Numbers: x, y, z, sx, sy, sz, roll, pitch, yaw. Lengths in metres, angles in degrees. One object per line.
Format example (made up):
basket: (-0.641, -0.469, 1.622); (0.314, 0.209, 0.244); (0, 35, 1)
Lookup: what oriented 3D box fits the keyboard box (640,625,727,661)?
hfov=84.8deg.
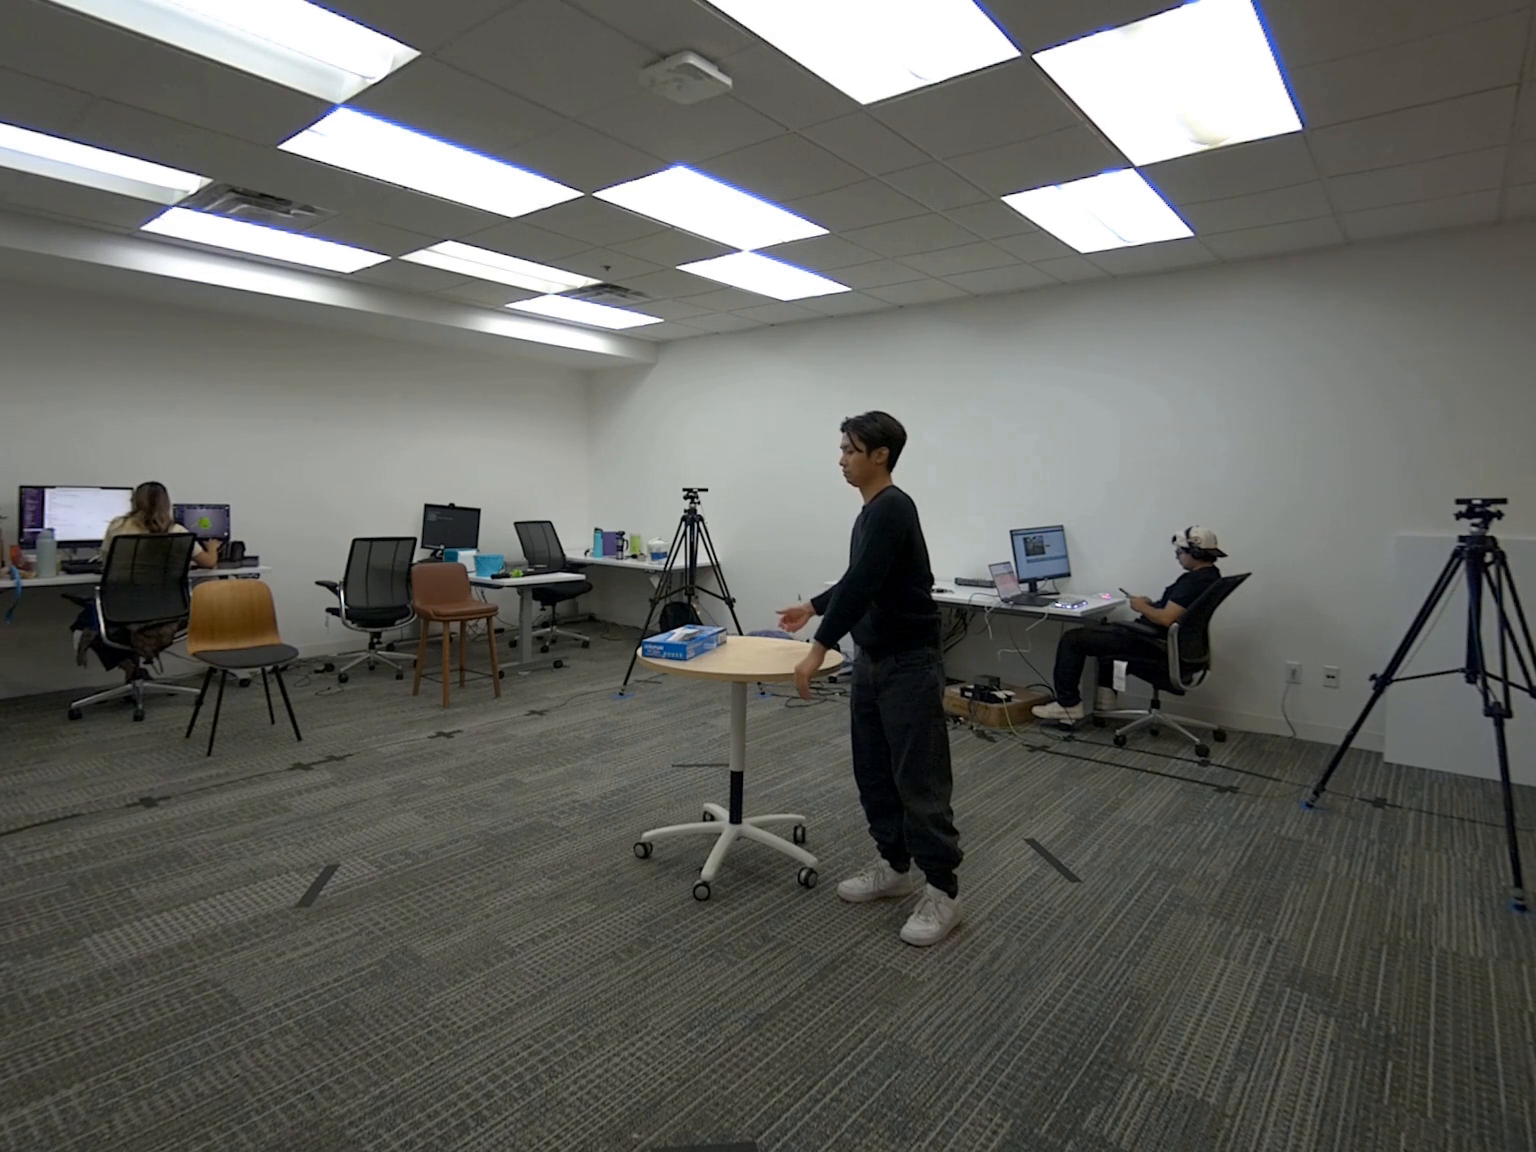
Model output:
keyboard box: (-0.313, 0.246, 3.218); (0.179, 0.059, 0.430); (3, 5, 17)
